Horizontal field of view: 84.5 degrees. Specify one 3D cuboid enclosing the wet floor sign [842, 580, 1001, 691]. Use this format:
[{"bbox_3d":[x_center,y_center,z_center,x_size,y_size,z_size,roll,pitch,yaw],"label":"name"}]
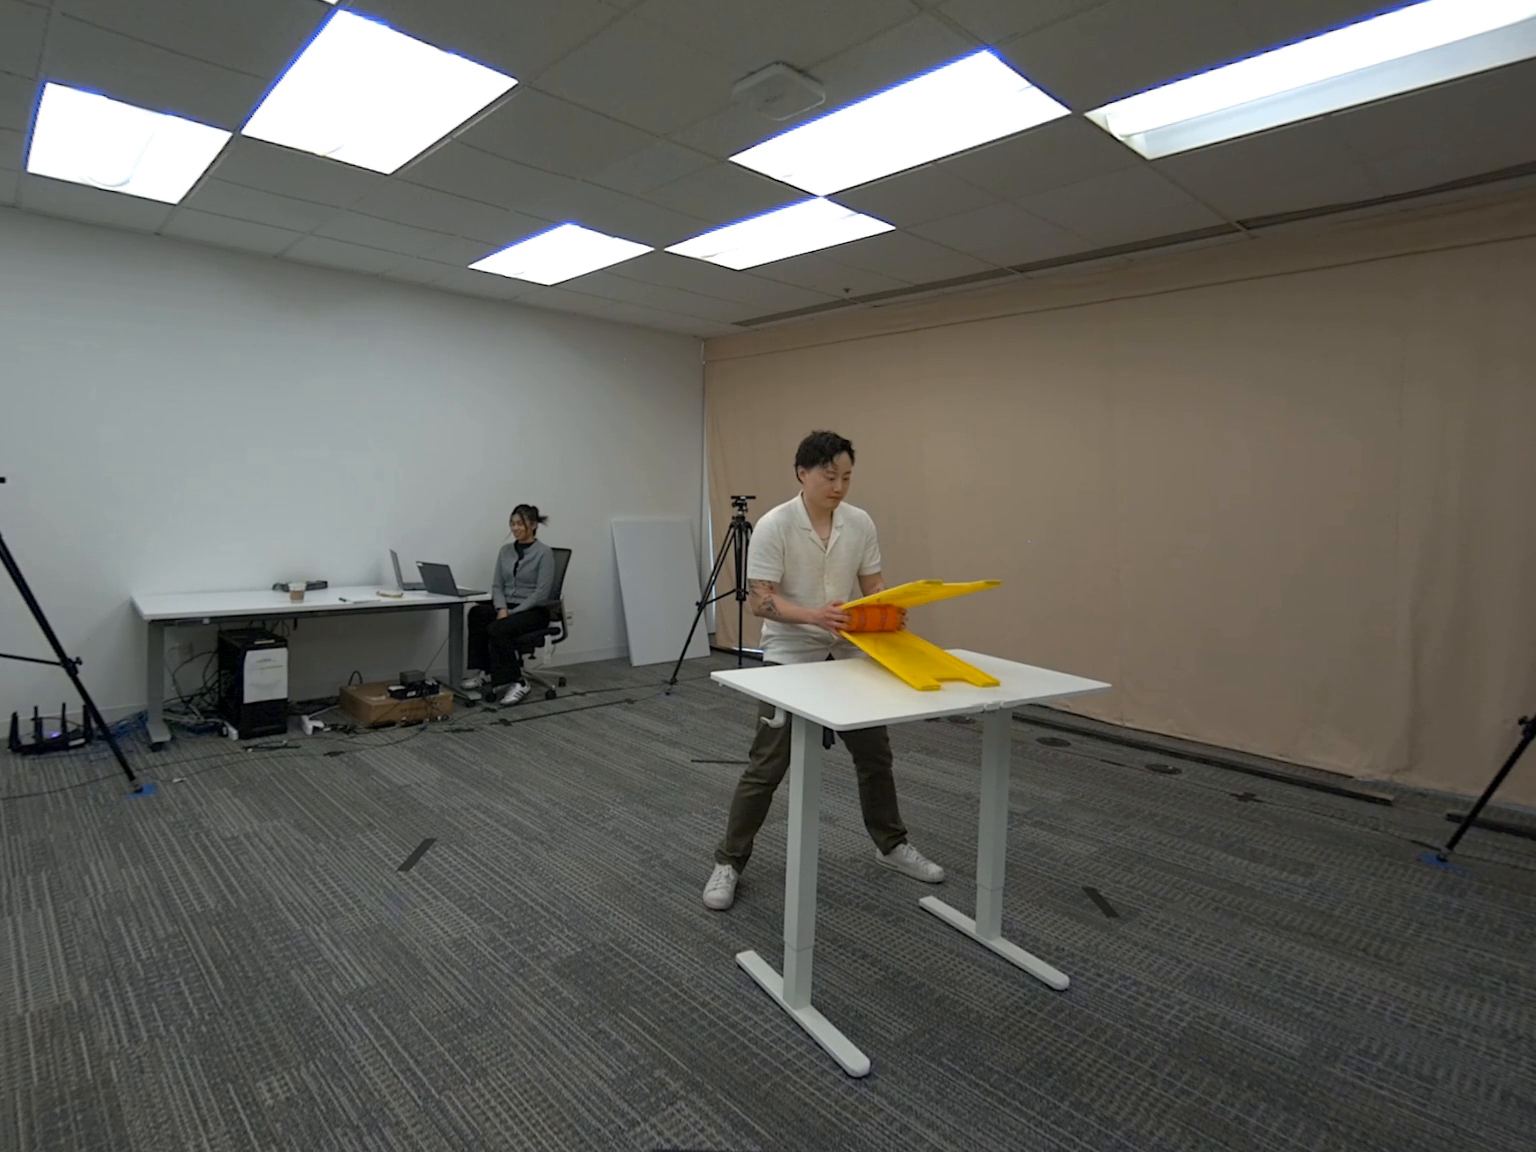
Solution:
[{"bbox_3d":[0.384,0.148,2.611,0.277,0.289,0.658,0,3,-25],"label":"wet floor sign"}]
